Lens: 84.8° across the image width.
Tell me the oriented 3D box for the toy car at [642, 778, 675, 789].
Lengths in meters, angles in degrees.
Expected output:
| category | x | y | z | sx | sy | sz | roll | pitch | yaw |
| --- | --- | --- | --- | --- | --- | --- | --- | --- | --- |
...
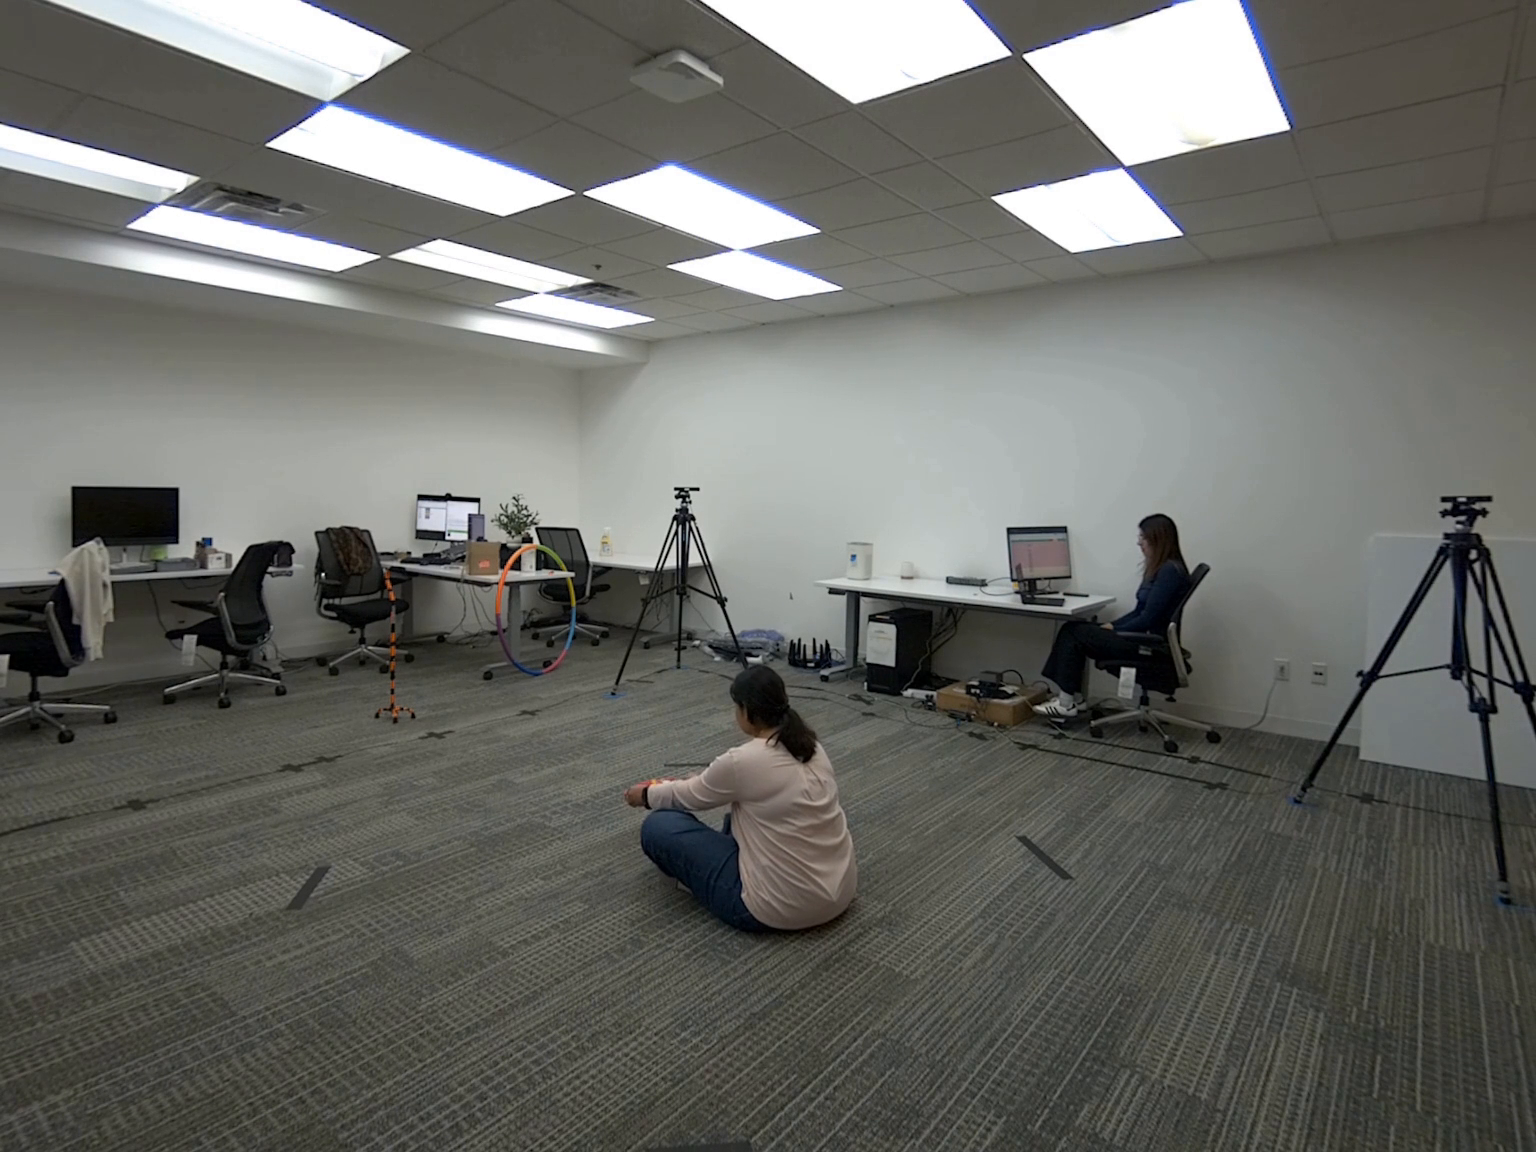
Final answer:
| category | x | y | z | sx | sy | sz | roll | pitch | yaw |
| --- | --- | --- | --- | --- | --- | --- | --- | --- | --- |
| toy car | -0.461 | 0.850 | 3.352 | 0.245 | 0.083 | 0.135 | 10 | 4 | -46 |
